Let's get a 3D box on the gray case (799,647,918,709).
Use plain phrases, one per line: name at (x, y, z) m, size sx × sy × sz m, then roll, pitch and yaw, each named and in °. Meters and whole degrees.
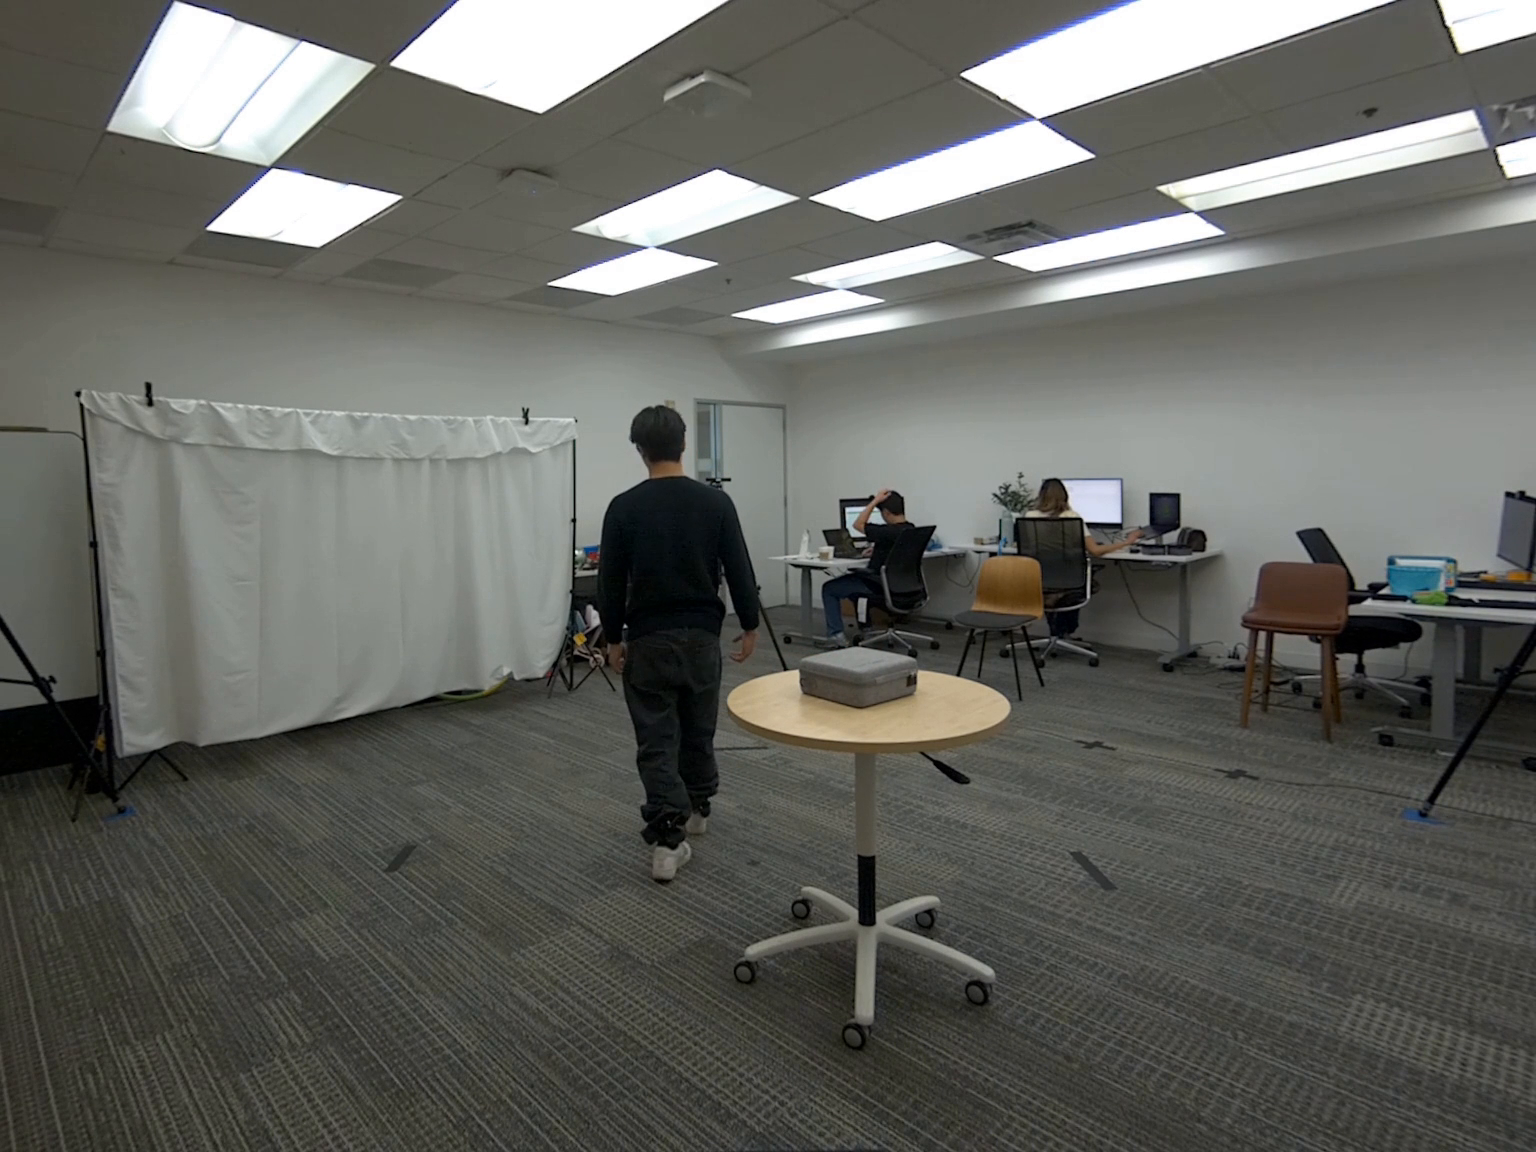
gray case at (0.257, 0.279, 2.419) m, size 0.250 × 0.104 × 0.268 m, roll -8°, pitch 9°, yaw -38°
